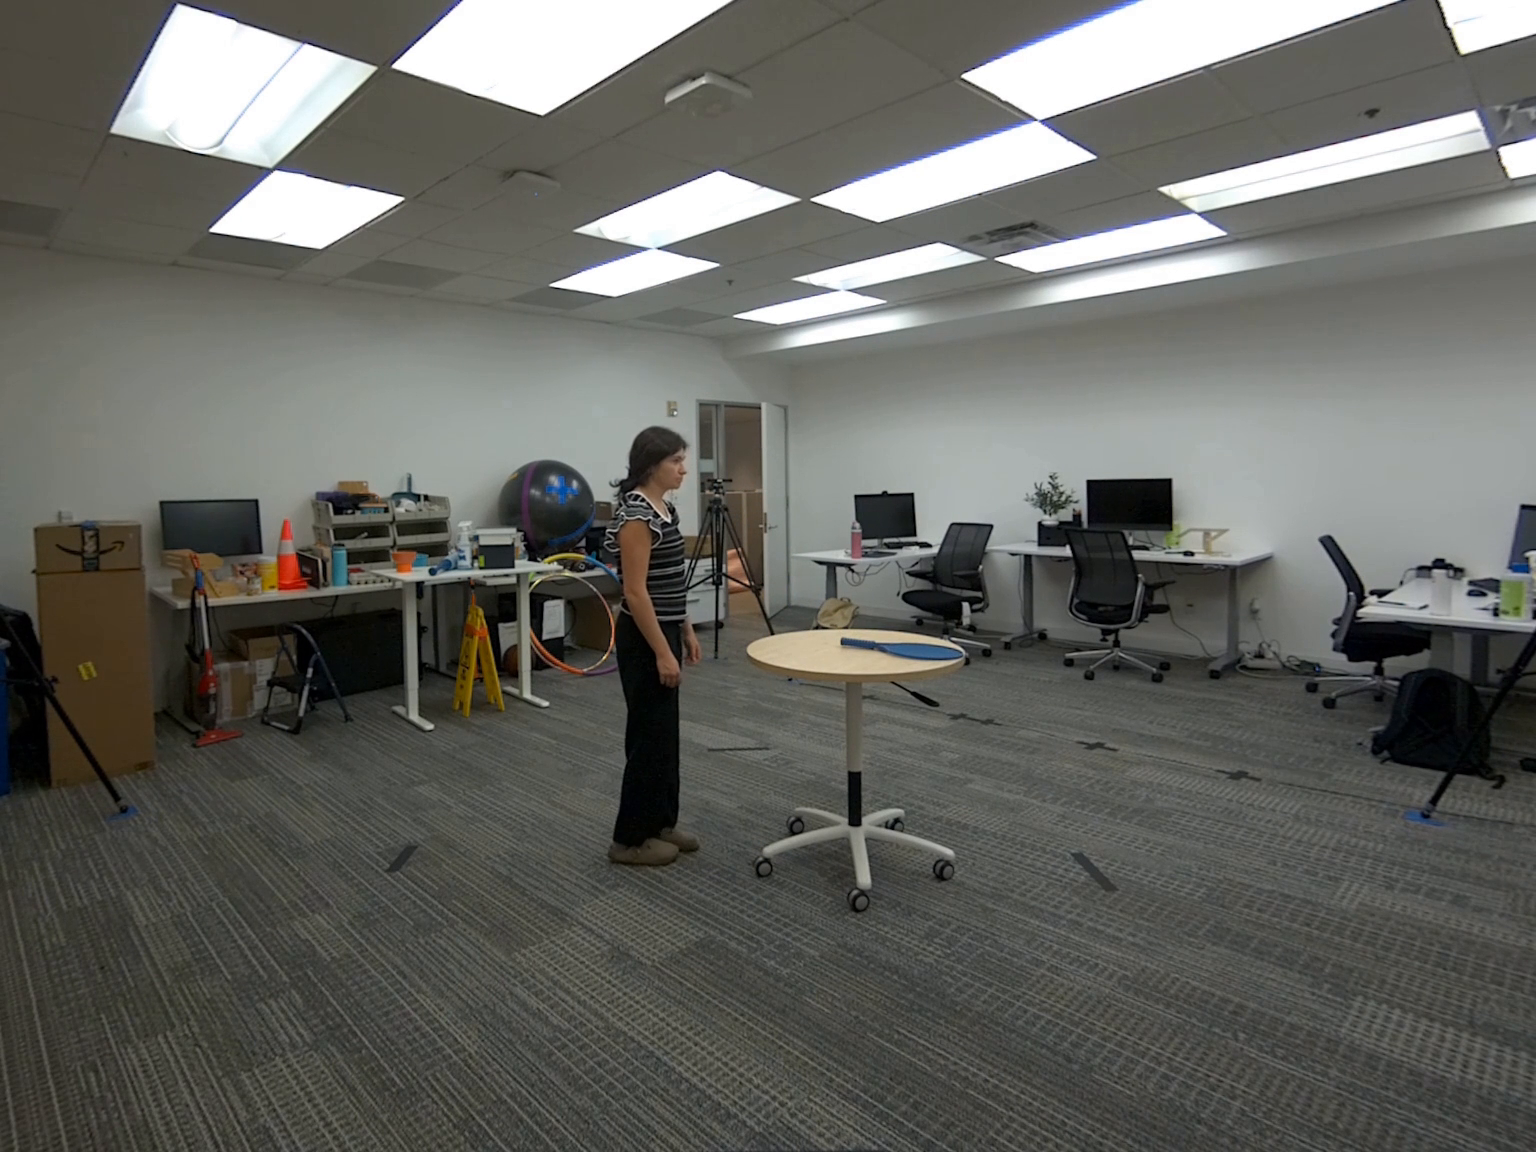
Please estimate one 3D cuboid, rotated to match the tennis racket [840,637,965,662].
[{"bbox_3d":[0.466,0.254,2.996,0.443,0.031,0.210,4,6,24],"label":"tennis racket"}]
